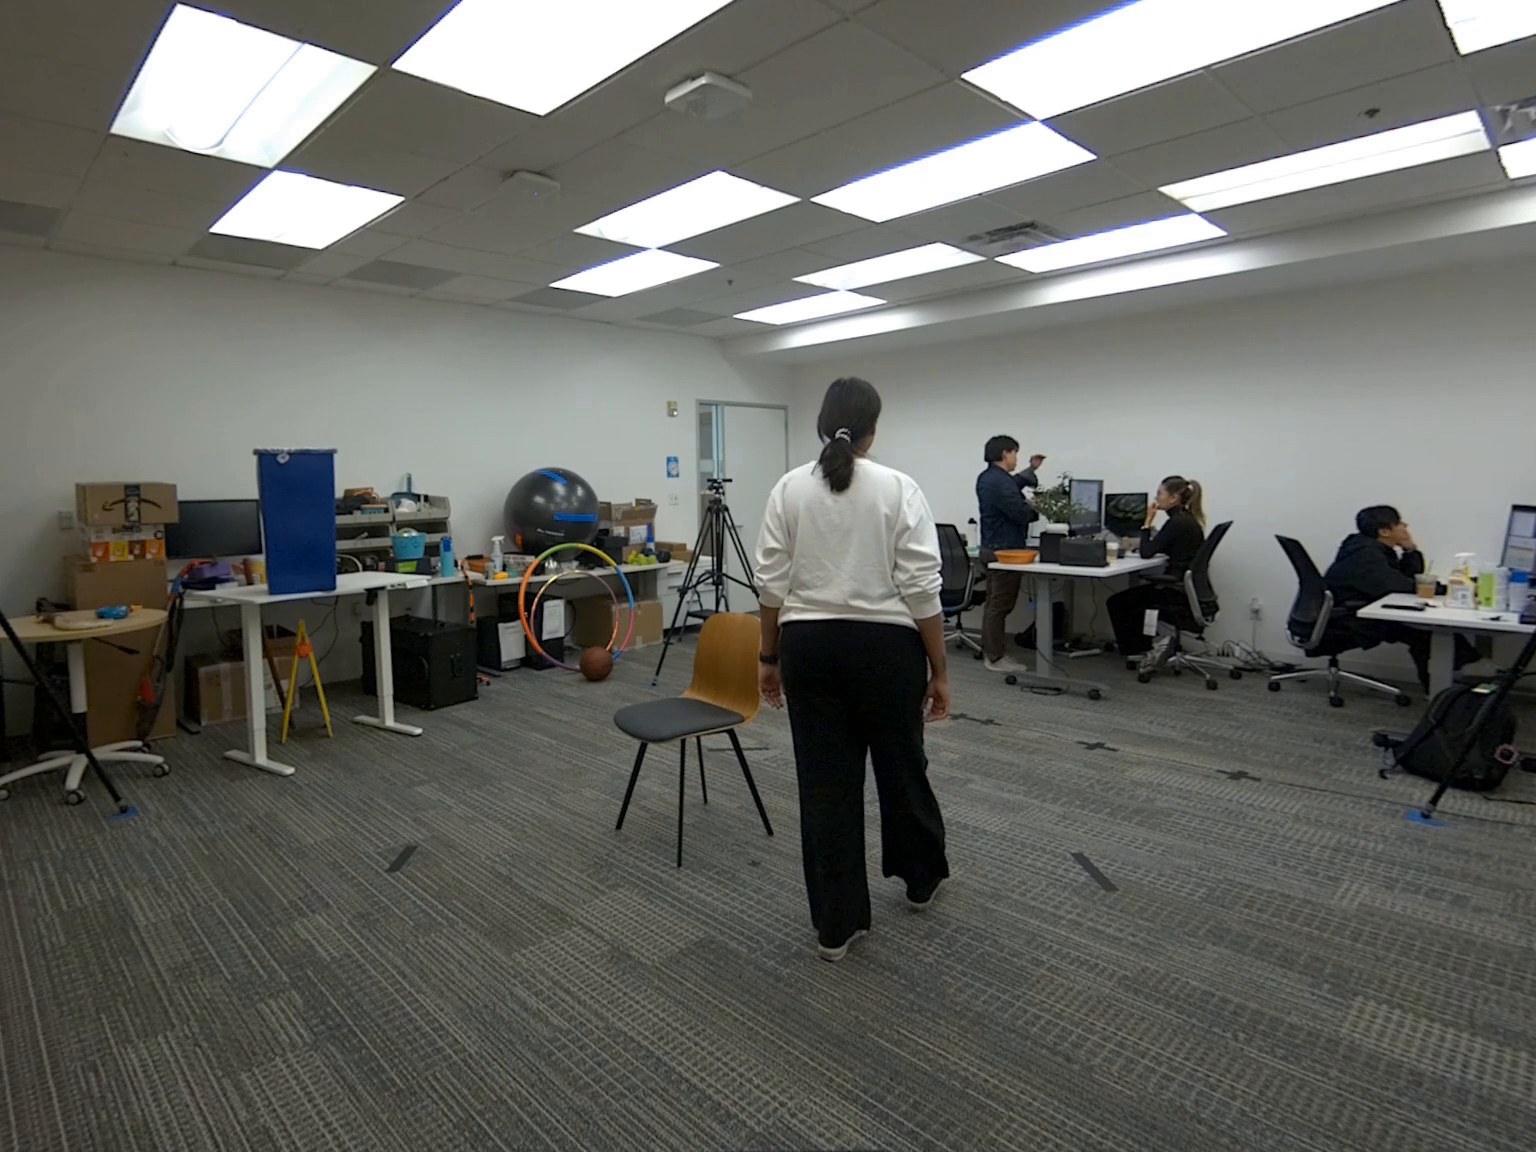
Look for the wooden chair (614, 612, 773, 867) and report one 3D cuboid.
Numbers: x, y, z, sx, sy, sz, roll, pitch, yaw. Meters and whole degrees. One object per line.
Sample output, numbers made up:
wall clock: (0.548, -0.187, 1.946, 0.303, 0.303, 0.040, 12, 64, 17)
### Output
wooden chair: (-0.307, 0.593, 3.357, 0.508, 0.877, 0.492, 2, 2, -39)
